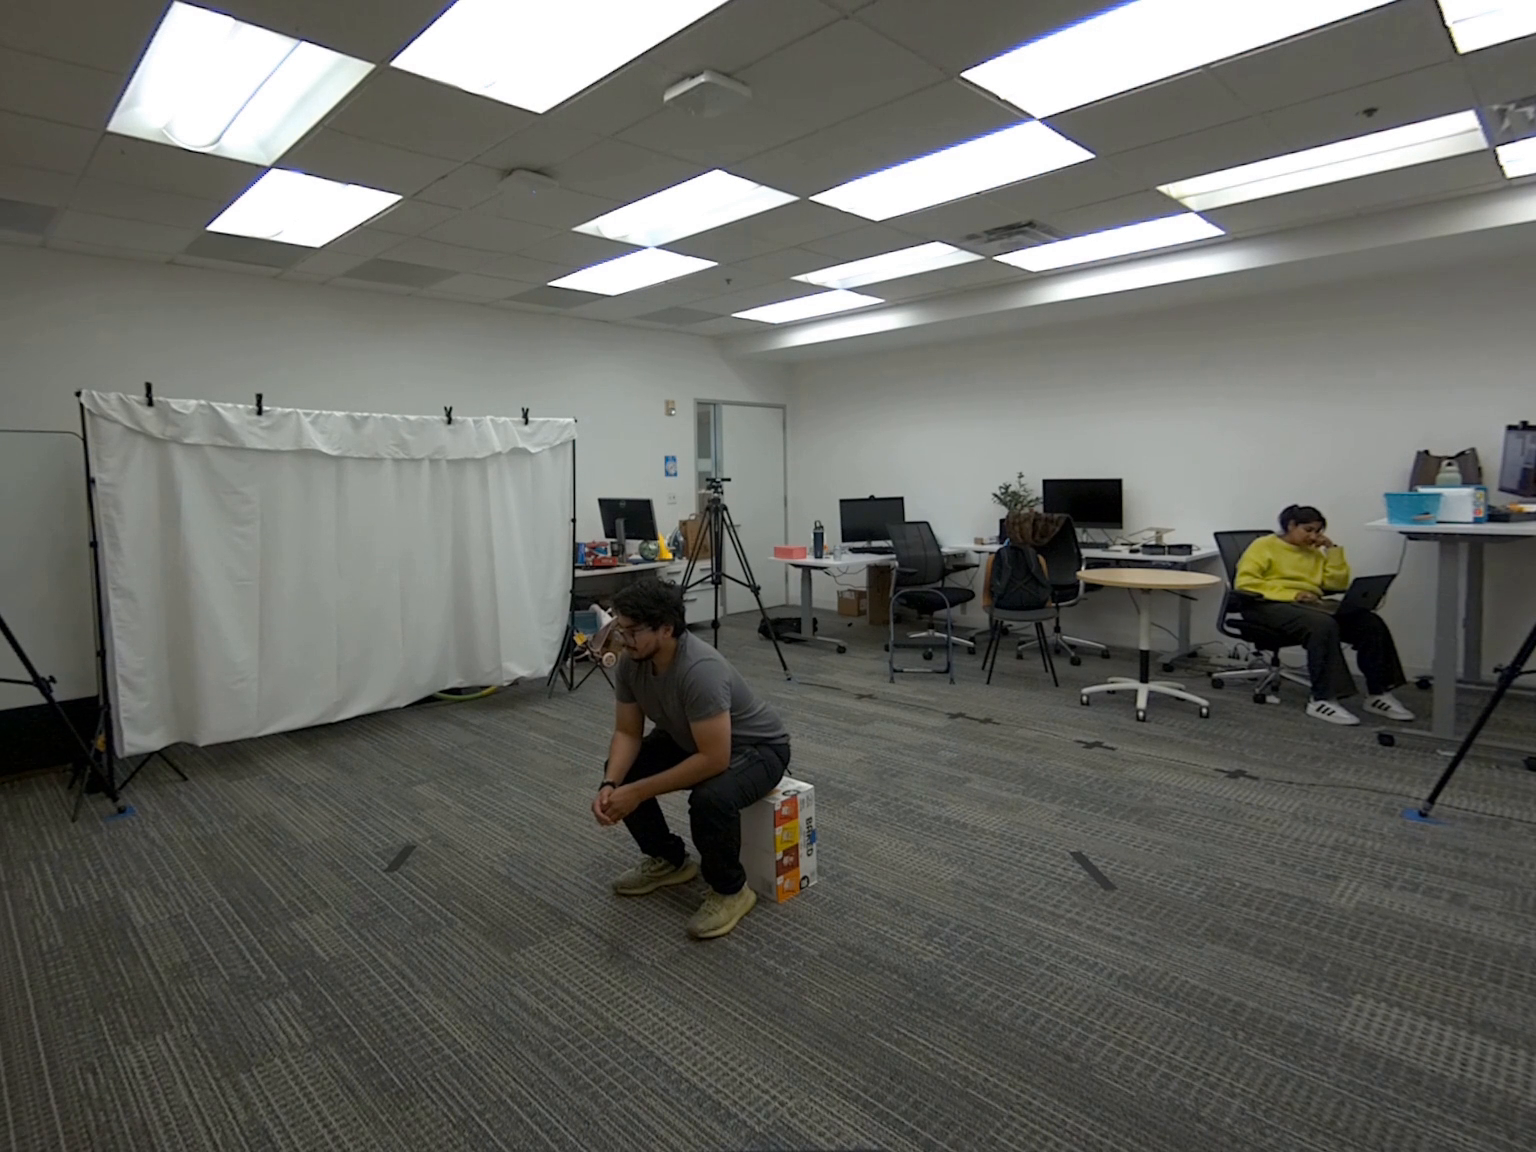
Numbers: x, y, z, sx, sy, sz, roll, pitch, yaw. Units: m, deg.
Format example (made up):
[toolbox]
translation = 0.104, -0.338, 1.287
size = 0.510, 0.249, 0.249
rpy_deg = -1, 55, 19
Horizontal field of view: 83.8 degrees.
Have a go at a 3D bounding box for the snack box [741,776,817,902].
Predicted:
[snack box]
translation = -0.043, 0.886, 3.017
size = 0.200, 0.339, 0.417
rpy_deg = -6, 7, -45
